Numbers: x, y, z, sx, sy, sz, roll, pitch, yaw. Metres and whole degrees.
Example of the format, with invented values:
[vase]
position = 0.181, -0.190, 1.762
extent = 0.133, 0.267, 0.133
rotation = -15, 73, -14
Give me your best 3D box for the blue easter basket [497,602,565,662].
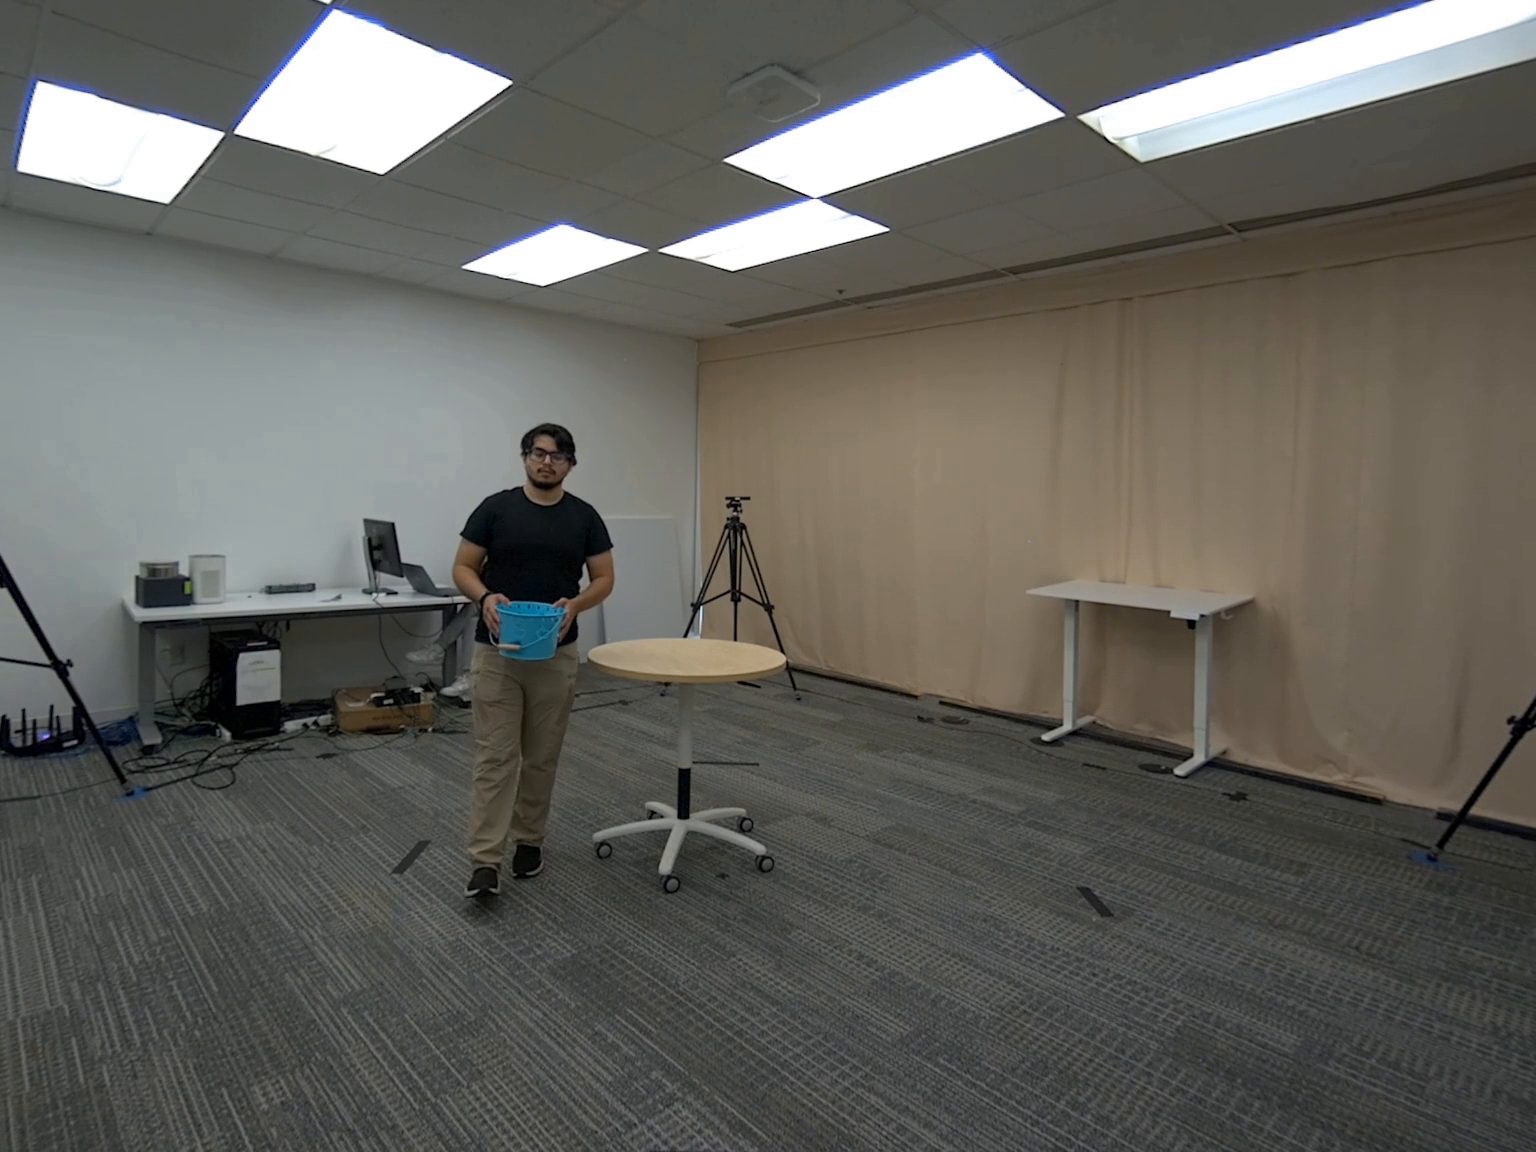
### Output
[blue easter basket]
position = -0.829, 0.188, 2.805
extent = 0.243, 0.155, 0.244
rotation = 3, 4, -2
